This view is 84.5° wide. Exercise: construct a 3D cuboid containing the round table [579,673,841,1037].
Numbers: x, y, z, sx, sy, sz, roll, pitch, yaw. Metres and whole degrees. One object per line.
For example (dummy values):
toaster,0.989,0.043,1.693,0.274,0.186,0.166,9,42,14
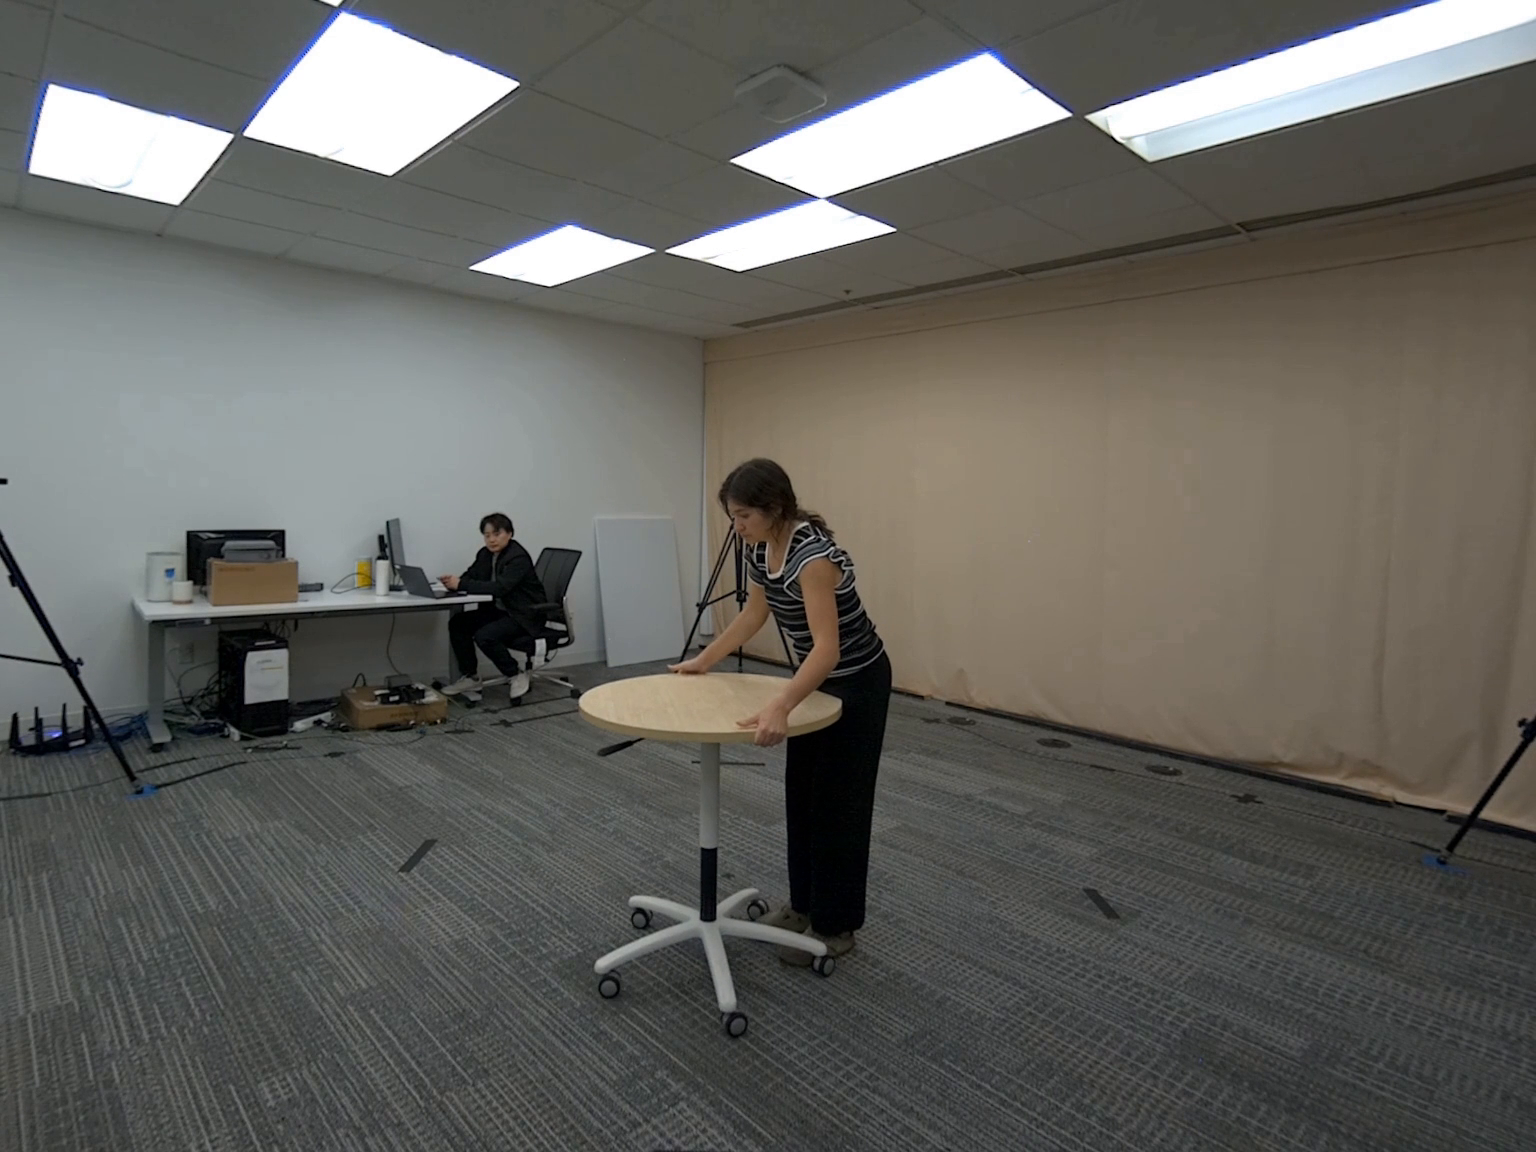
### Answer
round table,-0.180,0.762,2.485,0.763,0.792,0.766,0,3,-1
